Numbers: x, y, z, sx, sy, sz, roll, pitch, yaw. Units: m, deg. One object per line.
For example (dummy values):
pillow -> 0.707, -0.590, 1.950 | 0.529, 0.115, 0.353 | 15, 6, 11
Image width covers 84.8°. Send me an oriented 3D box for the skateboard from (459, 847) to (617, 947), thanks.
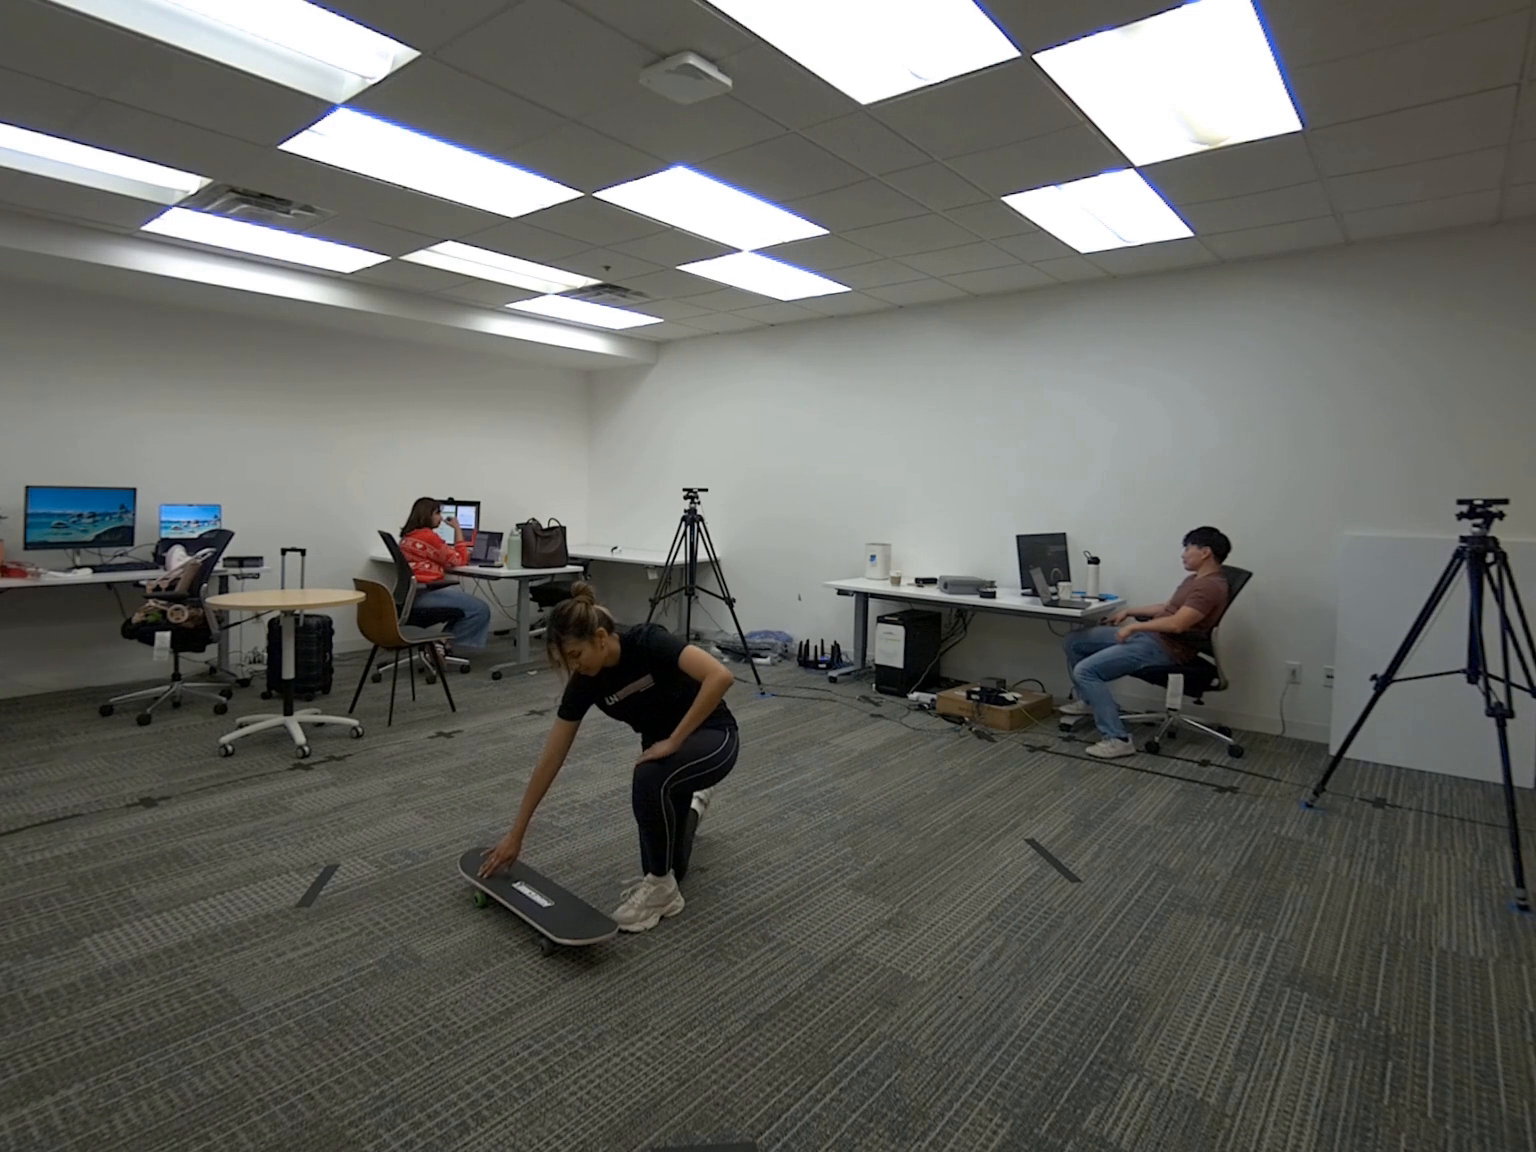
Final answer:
skateboard -> -0.755, 1.039, 2.714 | 0.812, 0.110, 0.187 | 6, 6, 44
